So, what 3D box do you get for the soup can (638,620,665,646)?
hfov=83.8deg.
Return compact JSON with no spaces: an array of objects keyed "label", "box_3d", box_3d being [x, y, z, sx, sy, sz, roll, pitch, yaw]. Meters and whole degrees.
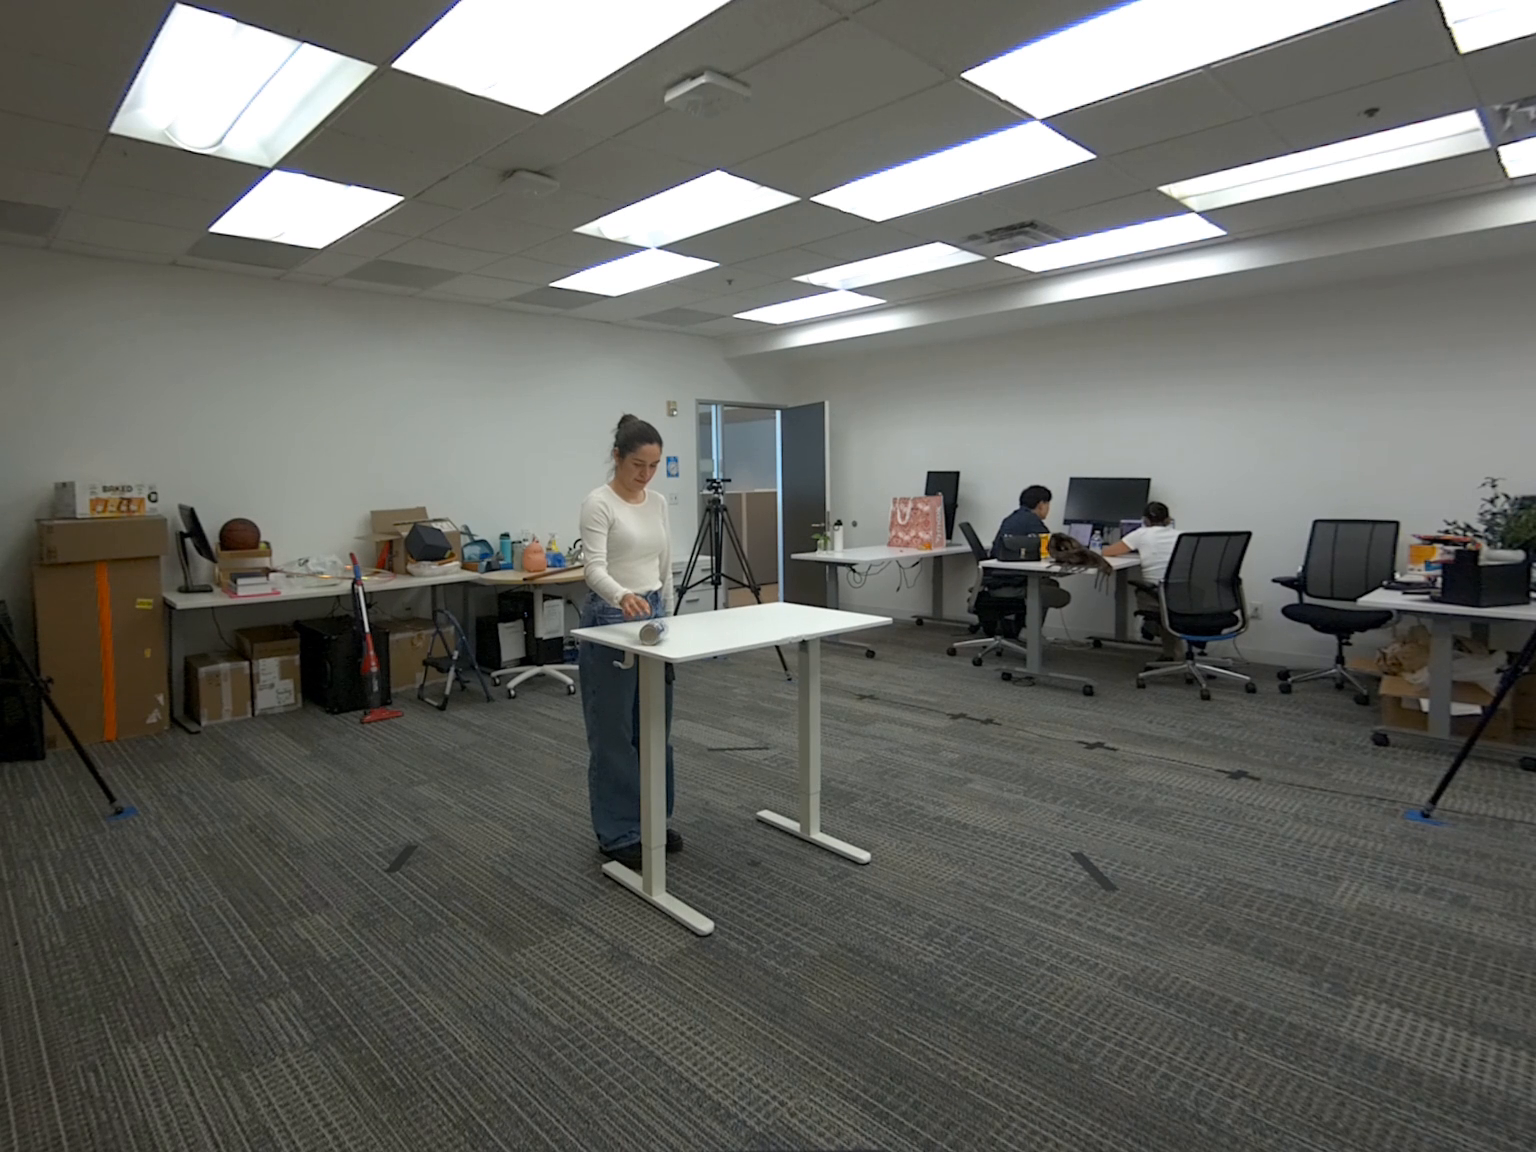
[{"label":"soup can","box_3d":[-0.354,0.176,2.704,0.067,0.067,0.121,-1,5,4]}]
